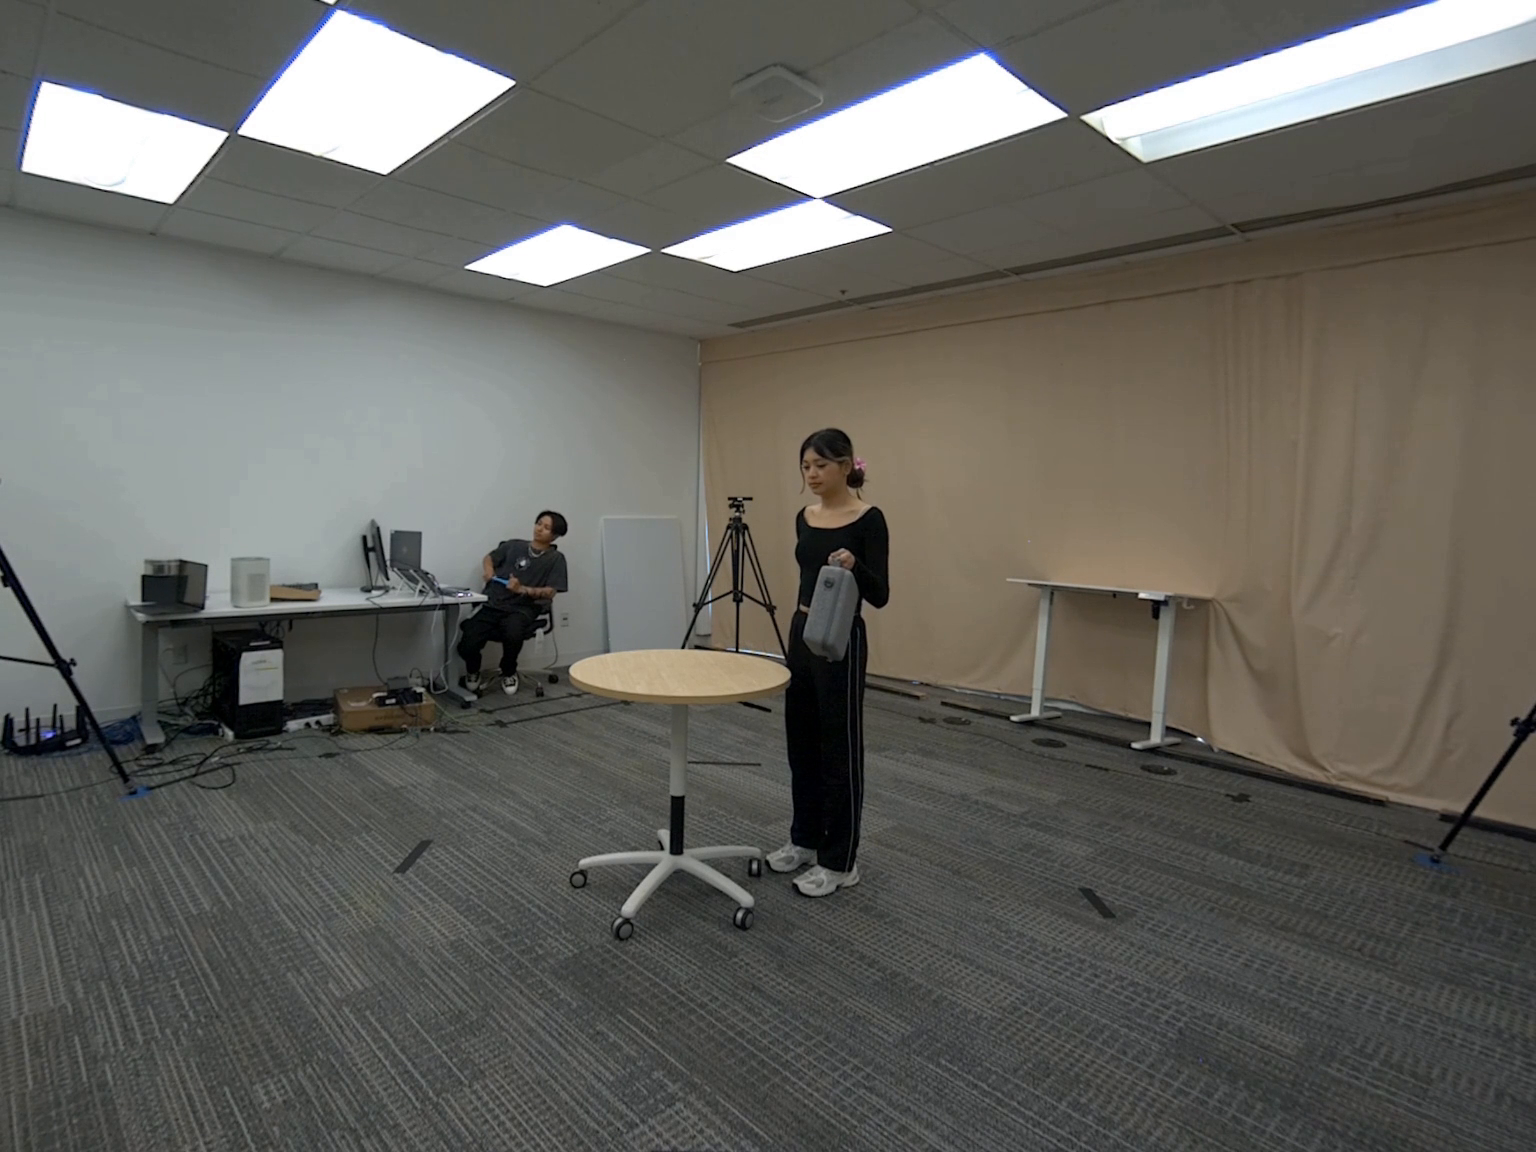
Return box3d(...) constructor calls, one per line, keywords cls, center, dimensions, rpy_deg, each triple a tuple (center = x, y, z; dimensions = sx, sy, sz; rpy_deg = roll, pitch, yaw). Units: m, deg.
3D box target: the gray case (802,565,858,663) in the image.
box3d(cls="gray case", center=(0.193, 0.116, 2.617), dimensions=(0.106, 0.262, 0.251), rpy_deg=(11, -15, 14))
